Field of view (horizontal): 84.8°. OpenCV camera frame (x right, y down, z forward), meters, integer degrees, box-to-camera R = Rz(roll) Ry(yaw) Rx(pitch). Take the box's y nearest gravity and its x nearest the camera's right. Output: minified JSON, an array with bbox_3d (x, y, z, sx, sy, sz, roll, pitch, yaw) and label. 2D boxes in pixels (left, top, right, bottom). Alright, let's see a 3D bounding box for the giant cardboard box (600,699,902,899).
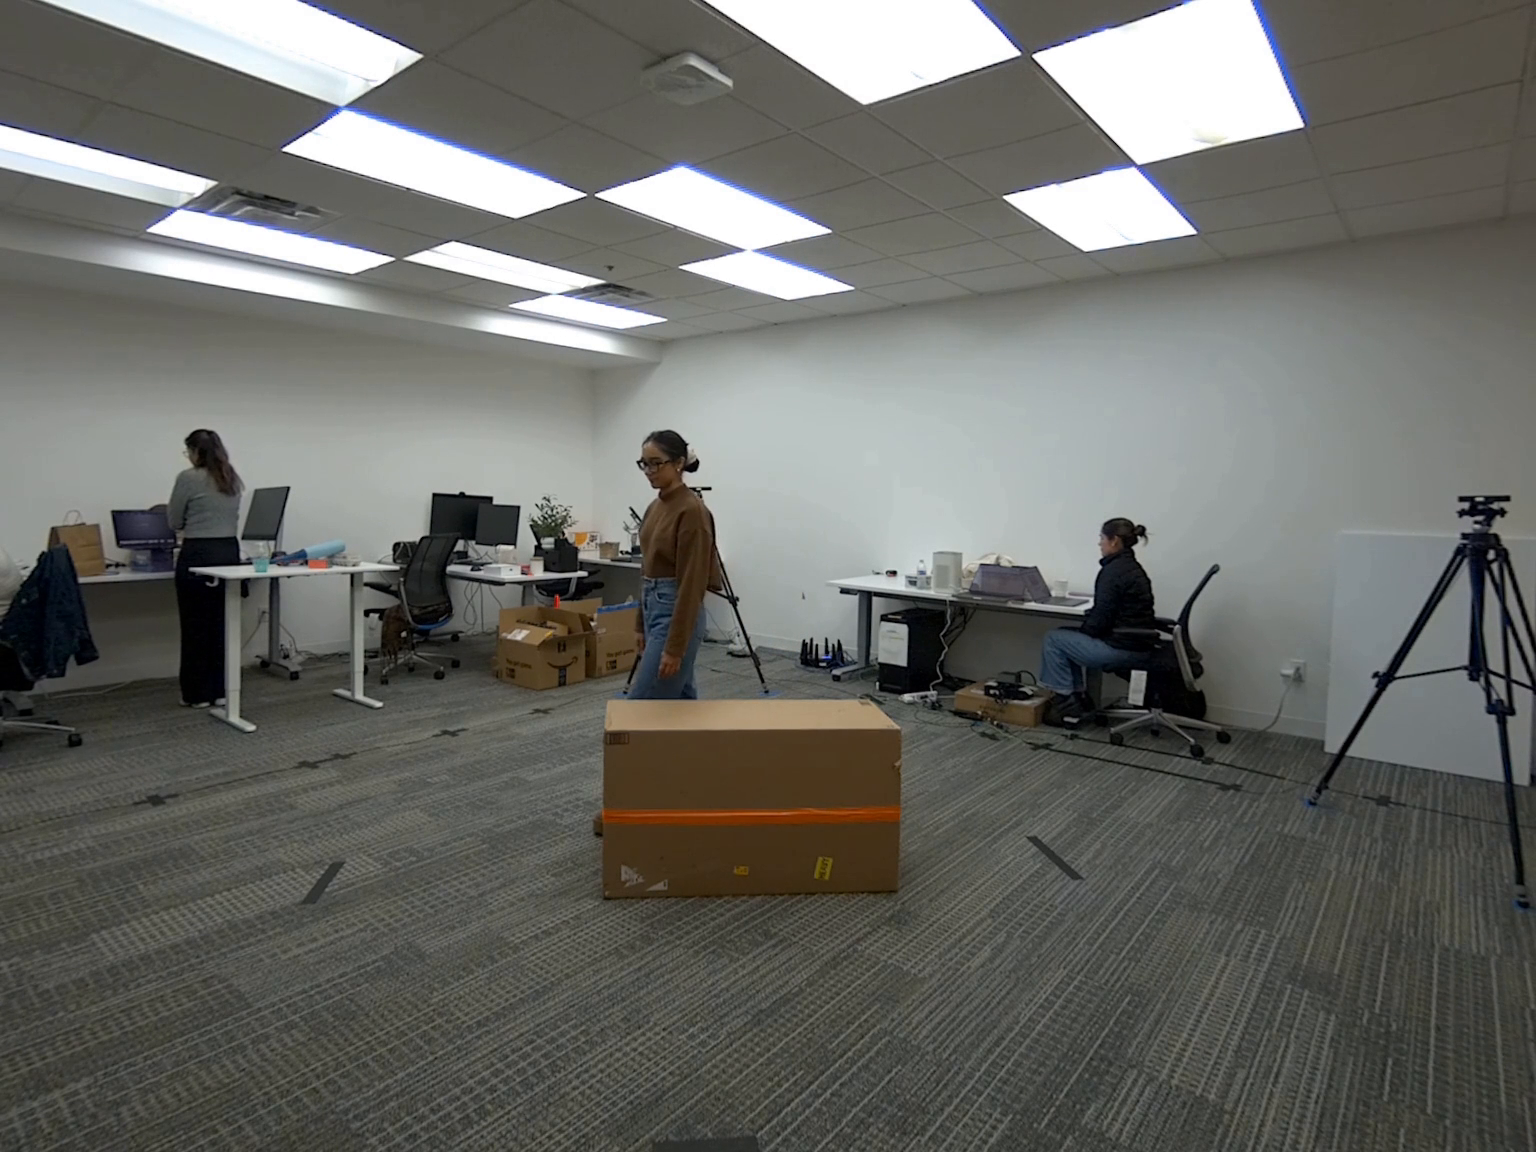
[{"bbox_3d":[-0.085,0.782,3.090,1.019,0.576,0.430,0,4,-6],"label":"giant cardboard box"}]
